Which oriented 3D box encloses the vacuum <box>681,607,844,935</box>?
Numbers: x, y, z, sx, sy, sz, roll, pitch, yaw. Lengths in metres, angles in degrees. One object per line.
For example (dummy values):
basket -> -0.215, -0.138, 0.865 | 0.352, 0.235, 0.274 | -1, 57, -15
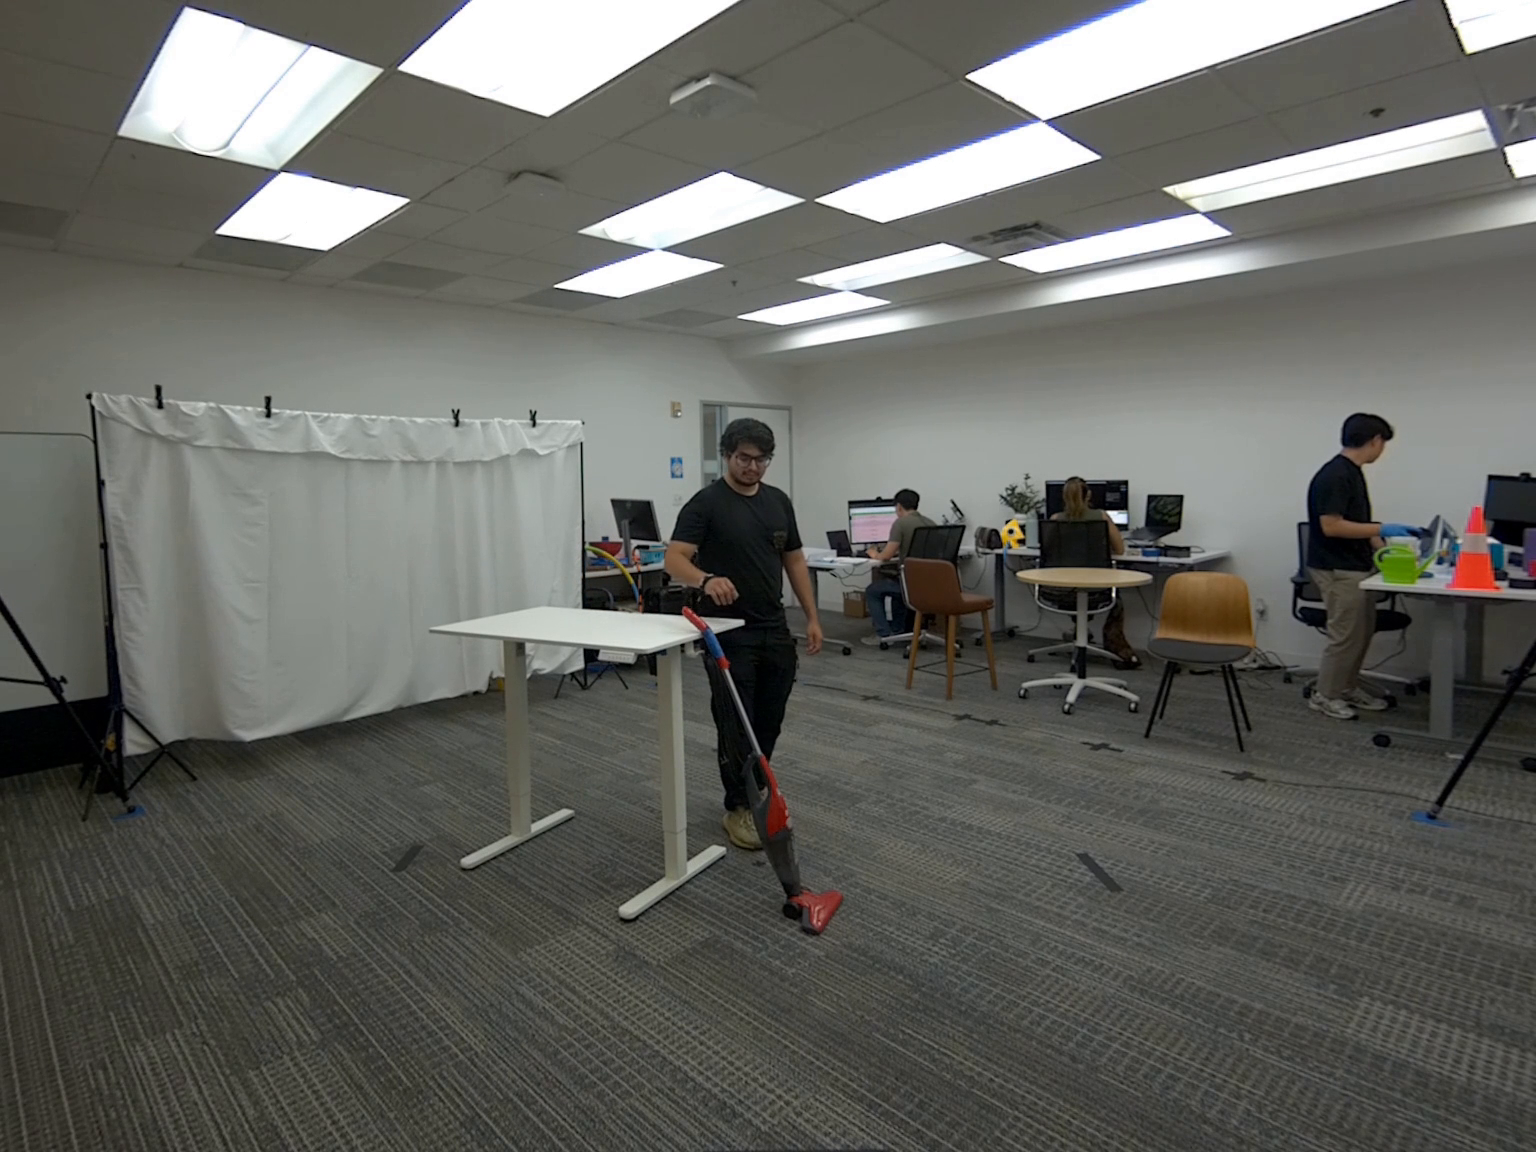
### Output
vacuum -> -0.056, 0.606, 2.808 | 0.145, 1.059, 0.247 | -26, -8, 25
